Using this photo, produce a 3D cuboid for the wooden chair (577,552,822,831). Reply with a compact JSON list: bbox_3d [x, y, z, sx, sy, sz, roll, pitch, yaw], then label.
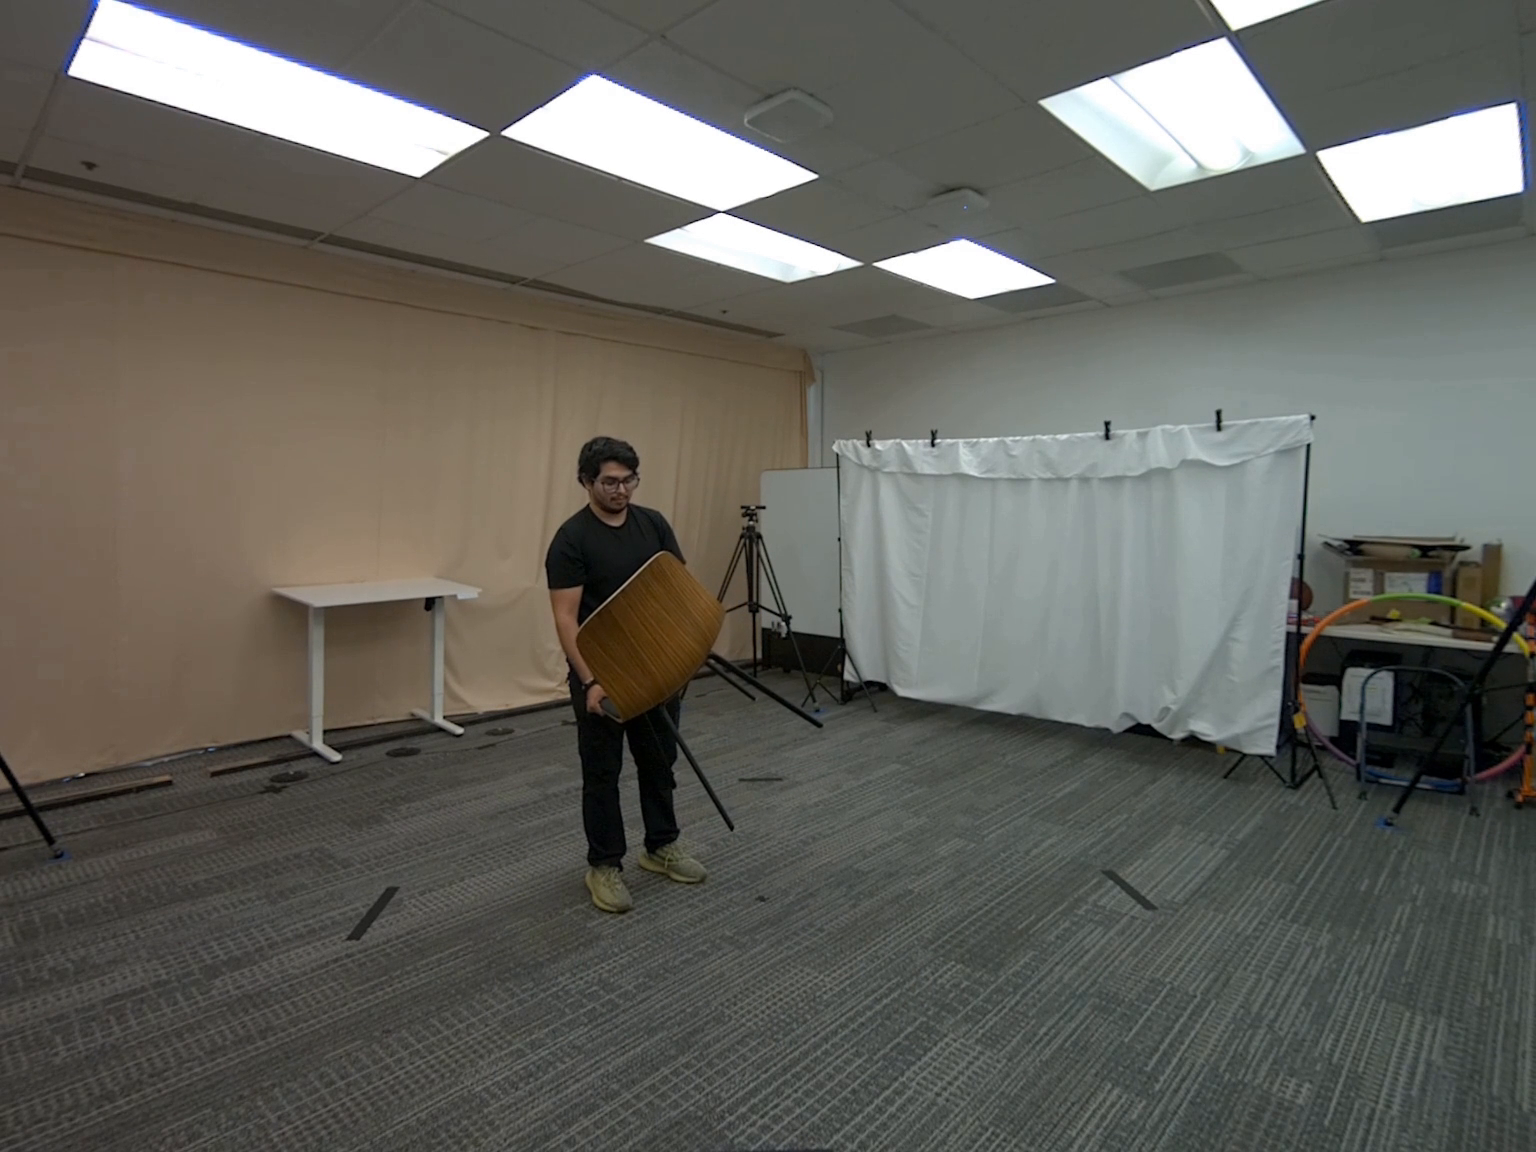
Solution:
[{"bbox_3d":[-0.317,0.317,2.742,0.475,0.855,0.539,-45,26,-19],"label":"wooden chair"}]
